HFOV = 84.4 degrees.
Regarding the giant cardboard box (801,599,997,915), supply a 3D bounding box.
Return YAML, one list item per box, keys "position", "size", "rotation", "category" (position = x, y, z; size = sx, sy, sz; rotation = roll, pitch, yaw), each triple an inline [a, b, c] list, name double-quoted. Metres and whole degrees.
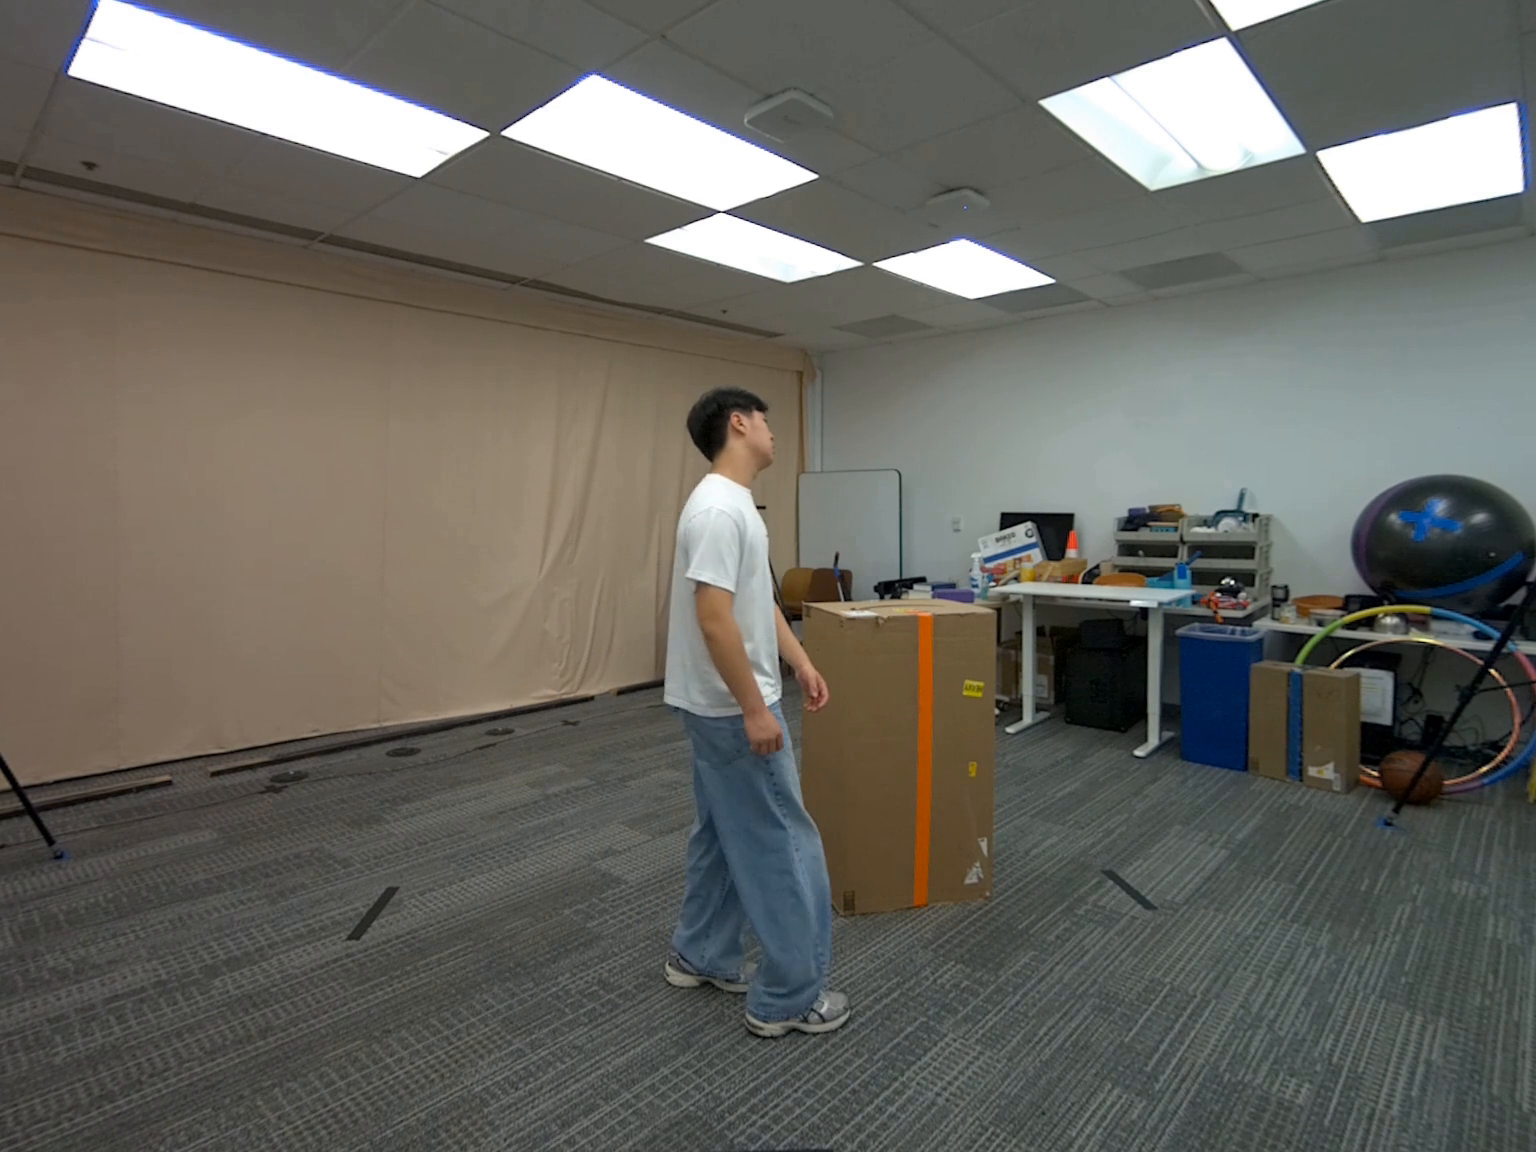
- position: [0.467, 0.623, 3.095]
  size: [0.568, 1.024, 0.434]
  rotation: [-1, 3, -17]
  category: "giant cardboard box"
